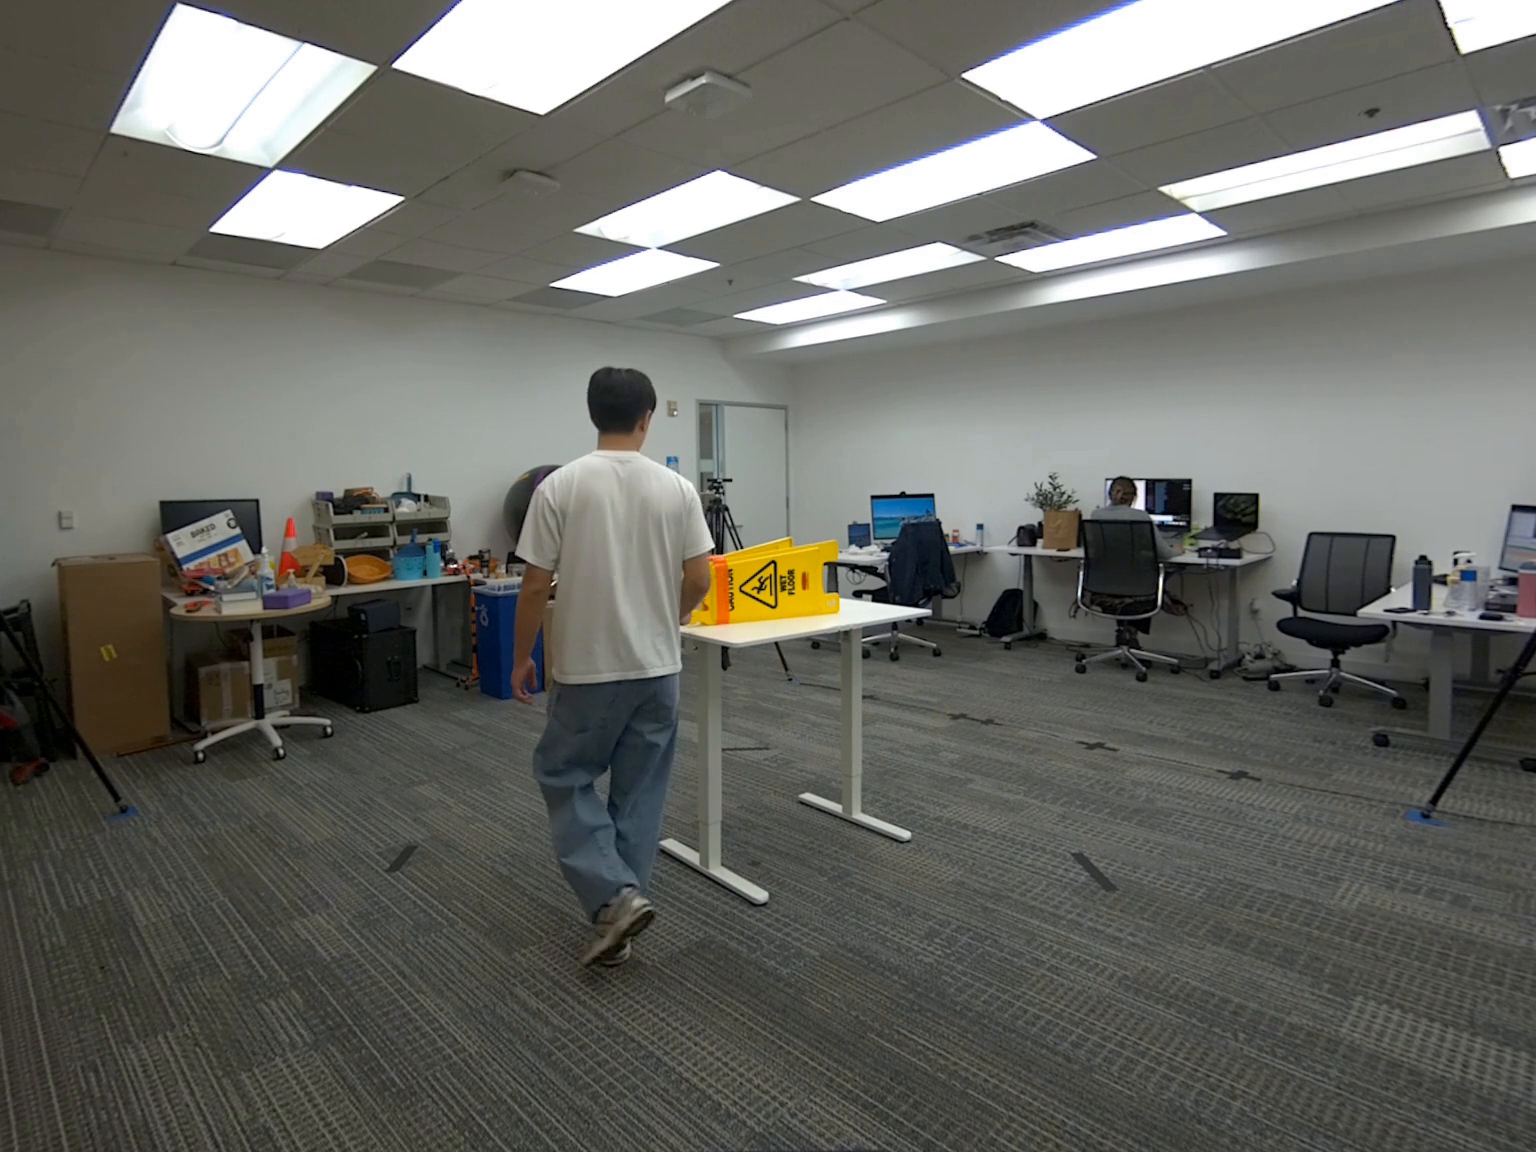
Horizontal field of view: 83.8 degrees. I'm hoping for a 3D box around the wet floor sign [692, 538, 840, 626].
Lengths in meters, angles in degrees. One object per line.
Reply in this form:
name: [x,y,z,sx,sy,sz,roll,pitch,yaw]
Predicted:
wet floor sign: [-0.051,0.033,3.141,0.630,0.280,0.299,-9,9,-41]
